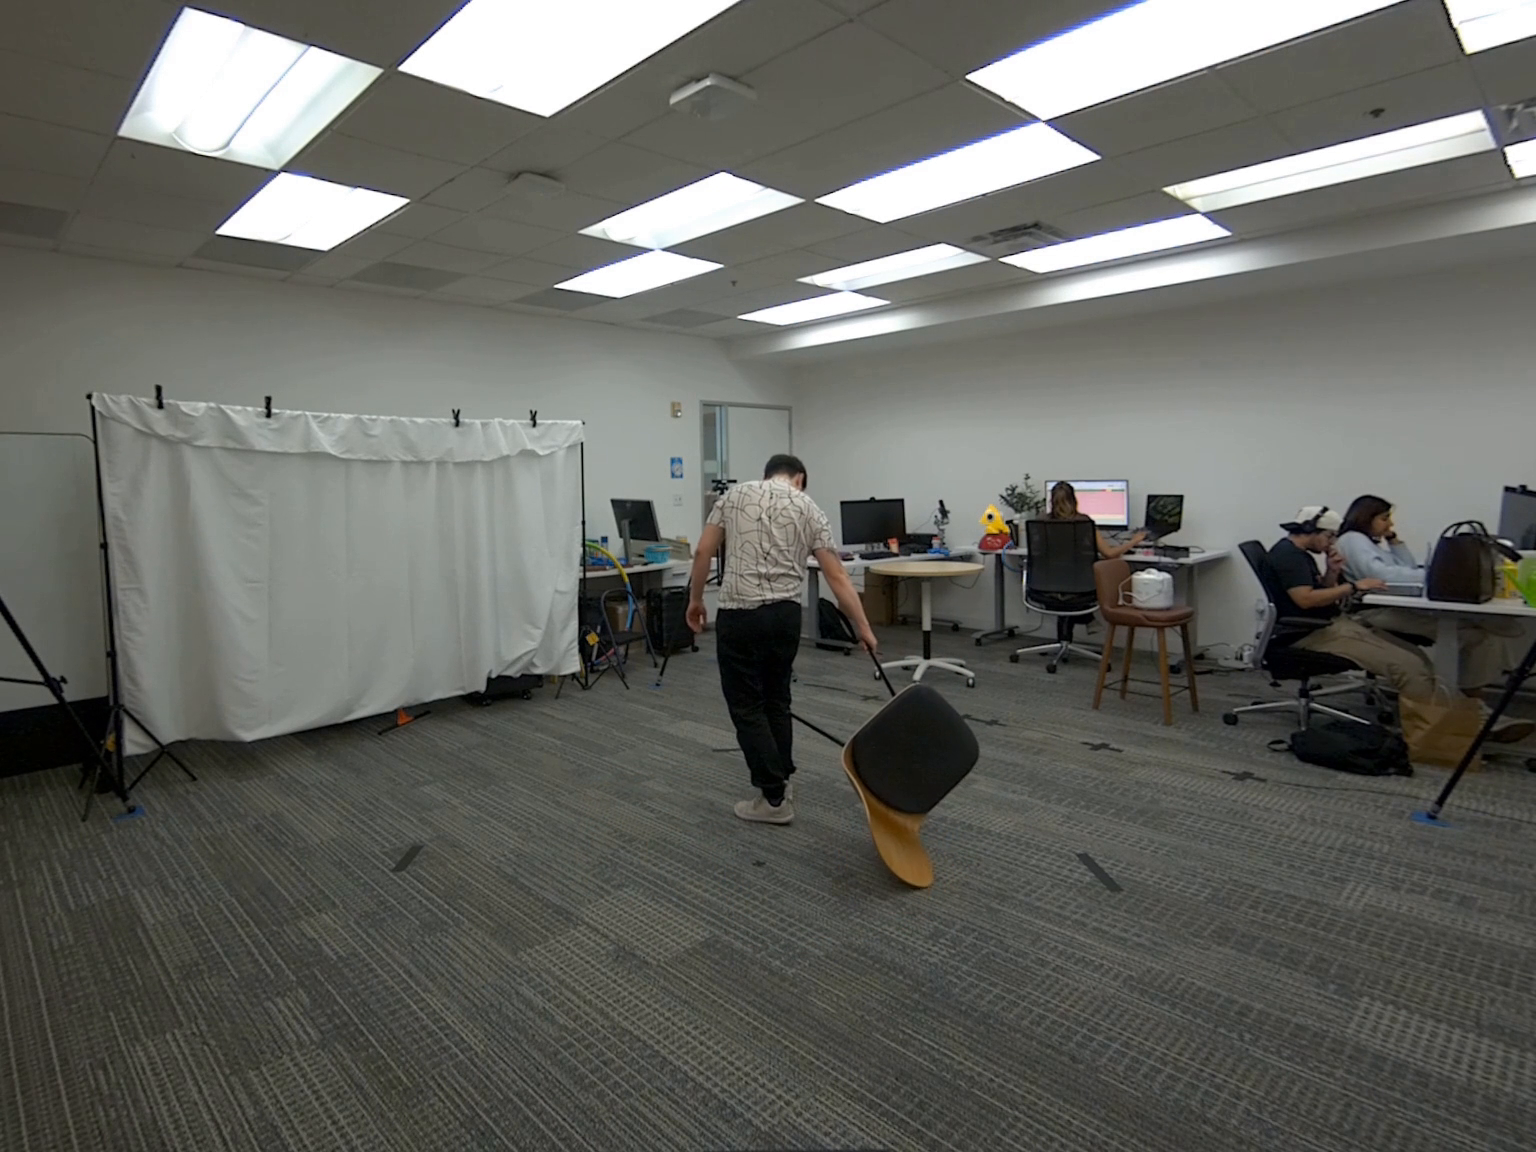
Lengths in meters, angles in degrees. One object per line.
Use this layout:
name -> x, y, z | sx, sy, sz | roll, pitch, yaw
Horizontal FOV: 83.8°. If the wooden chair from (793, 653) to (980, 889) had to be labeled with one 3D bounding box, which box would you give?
wooden chair -> 0.508, 0.683, 3.233 | 0.523, 0.467, 0.898 | -42, 20, 2
